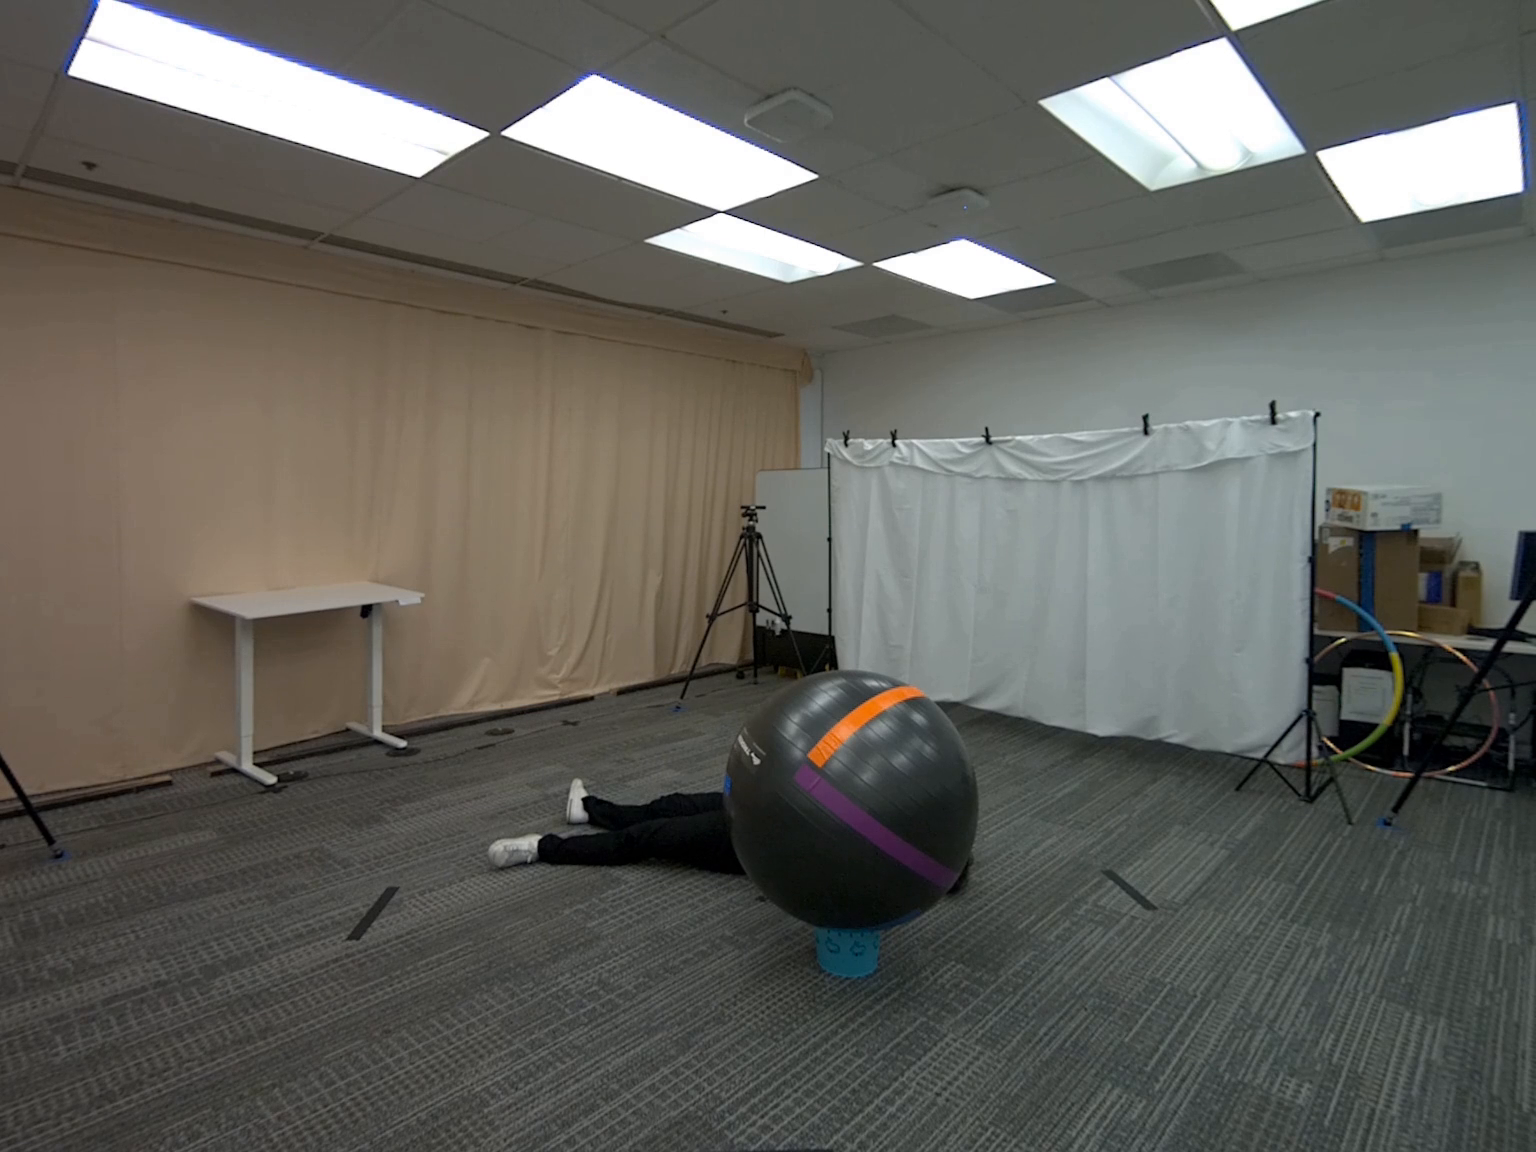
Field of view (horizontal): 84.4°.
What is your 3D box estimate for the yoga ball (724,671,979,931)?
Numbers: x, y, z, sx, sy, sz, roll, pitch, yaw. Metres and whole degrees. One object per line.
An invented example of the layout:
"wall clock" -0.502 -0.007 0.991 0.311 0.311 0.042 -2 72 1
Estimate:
"yoga ball" 0.246 0.669 2.548 0.757 0.756 0.760 0 4 -2
